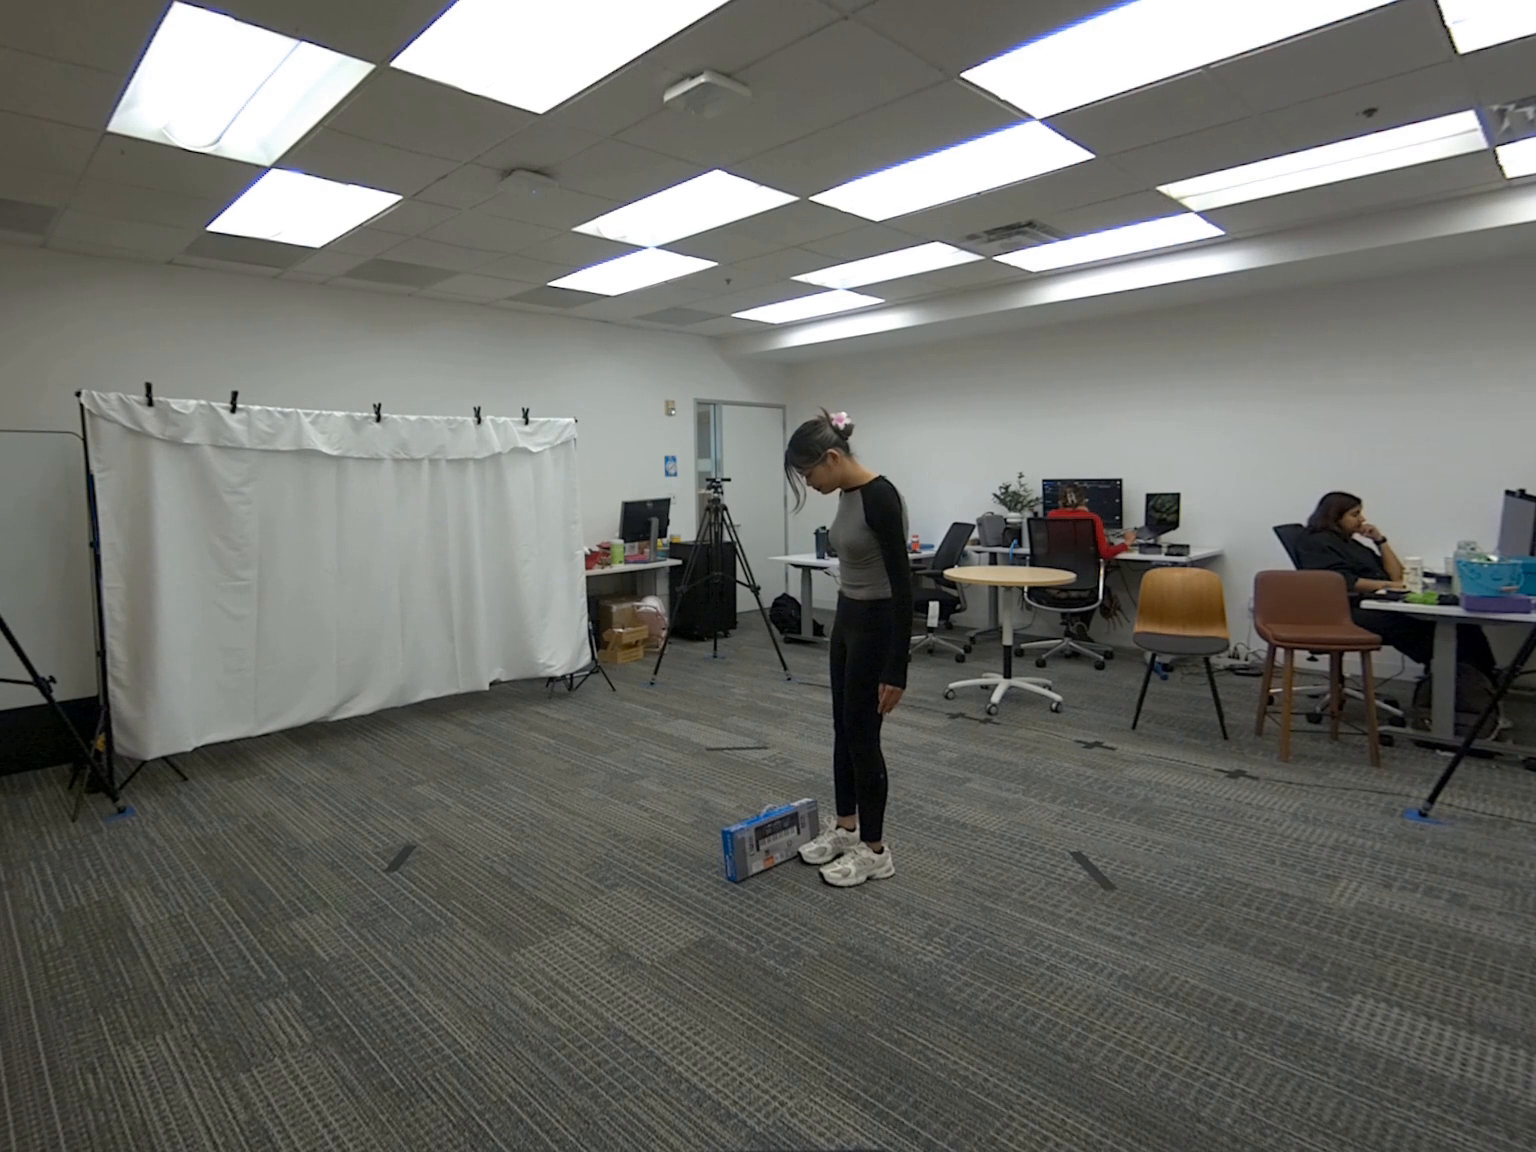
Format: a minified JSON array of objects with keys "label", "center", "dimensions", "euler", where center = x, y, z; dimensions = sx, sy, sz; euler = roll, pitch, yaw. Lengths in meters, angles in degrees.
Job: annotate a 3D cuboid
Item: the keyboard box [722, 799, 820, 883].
[{"label":"keyboard box","center":[0.020,0.957,3.113],"dimensions":[0.425,0.176,0.060],"euler":[-6,-1,-42]}]
